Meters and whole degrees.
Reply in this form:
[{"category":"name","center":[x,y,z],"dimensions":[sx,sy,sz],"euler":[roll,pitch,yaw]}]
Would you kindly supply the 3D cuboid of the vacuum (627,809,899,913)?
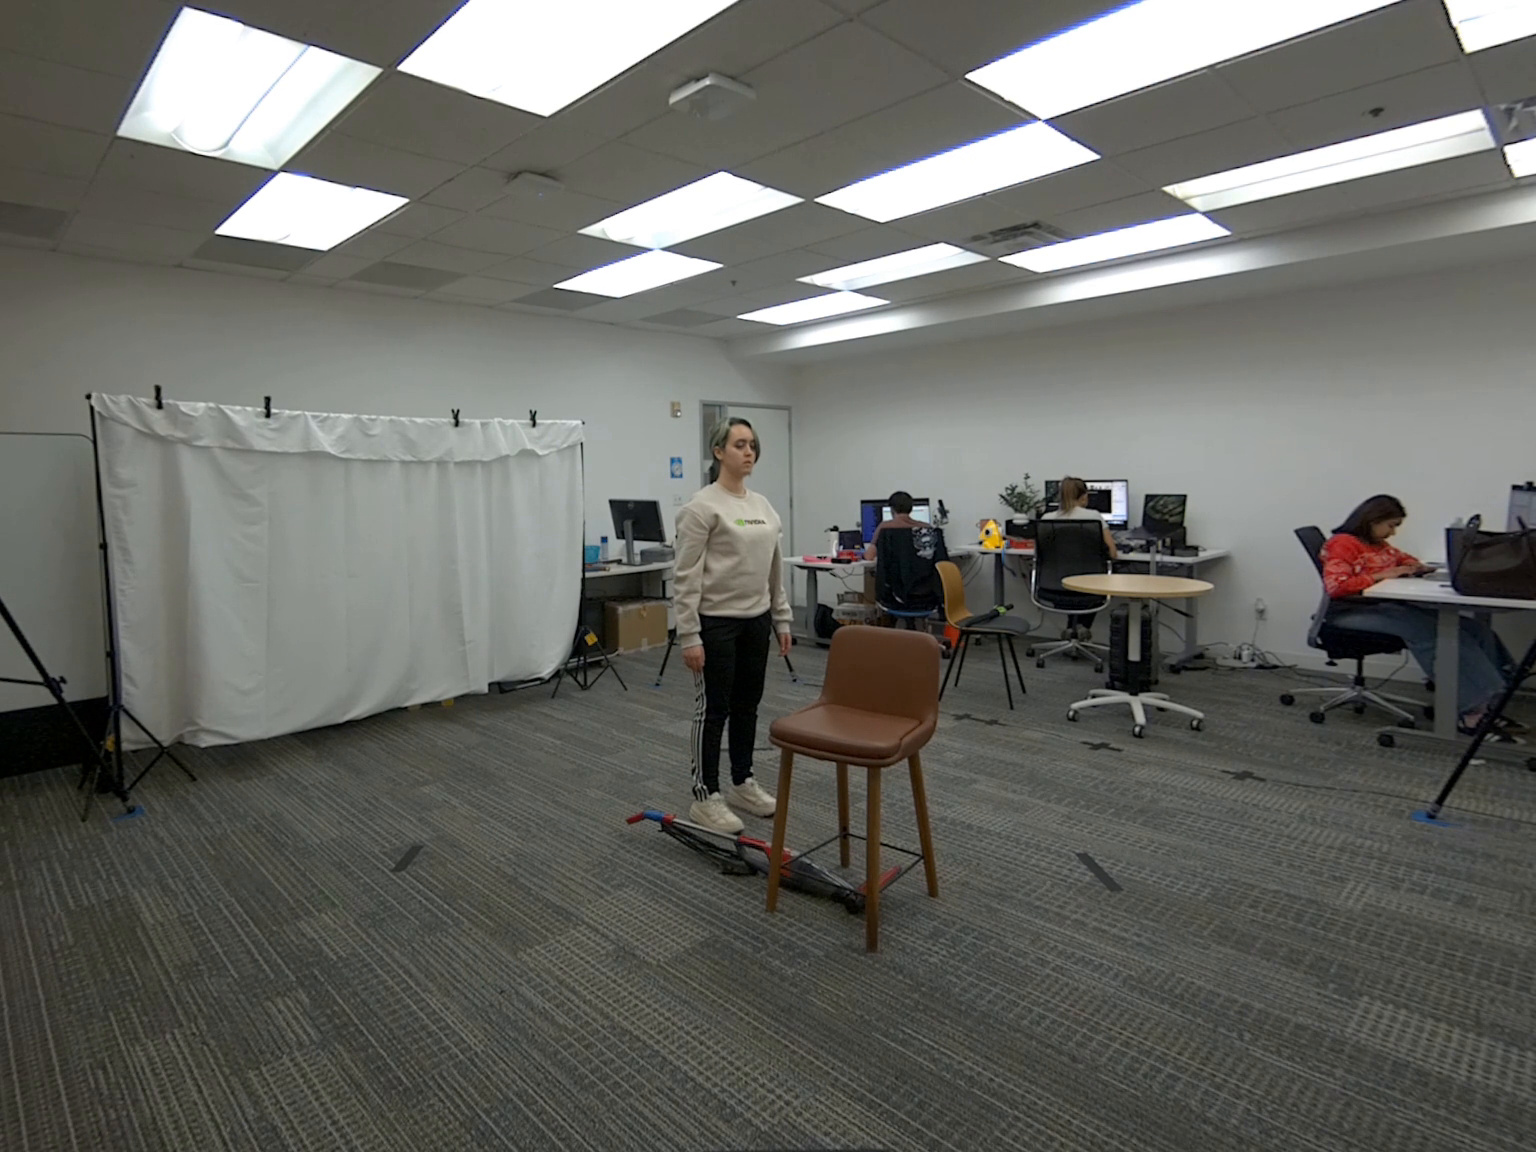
[{"category":"vacuum","center":[-0.102,1.006,3.060],"dimensions":[1.079,0.143,0.246],"euler":[3,5,34]}]
